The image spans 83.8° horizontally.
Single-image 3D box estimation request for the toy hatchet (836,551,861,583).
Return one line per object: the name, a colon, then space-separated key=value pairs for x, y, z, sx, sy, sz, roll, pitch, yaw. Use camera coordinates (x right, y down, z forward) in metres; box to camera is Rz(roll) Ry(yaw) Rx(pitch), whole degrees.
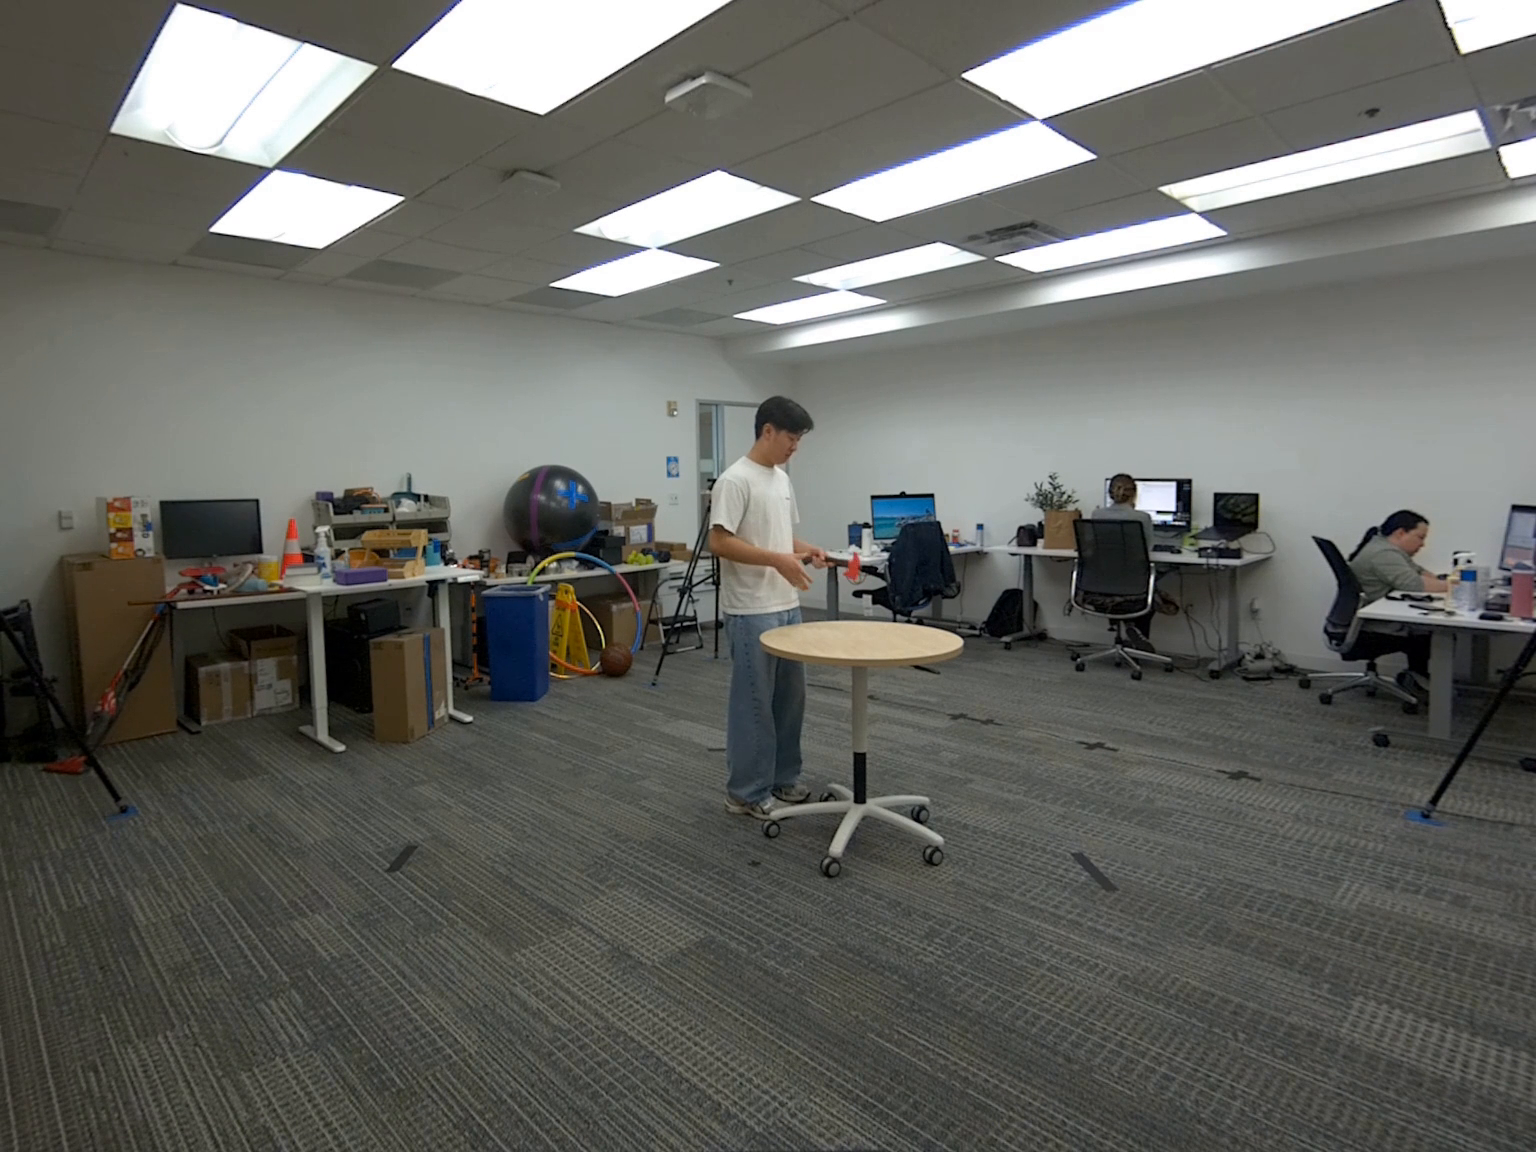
toy hatchet: x=0.268 y=-0.030 z=3.591 sx=0.277 sy=0.128 sz=0.029 roll=-4 pitch=22 yaw=36
